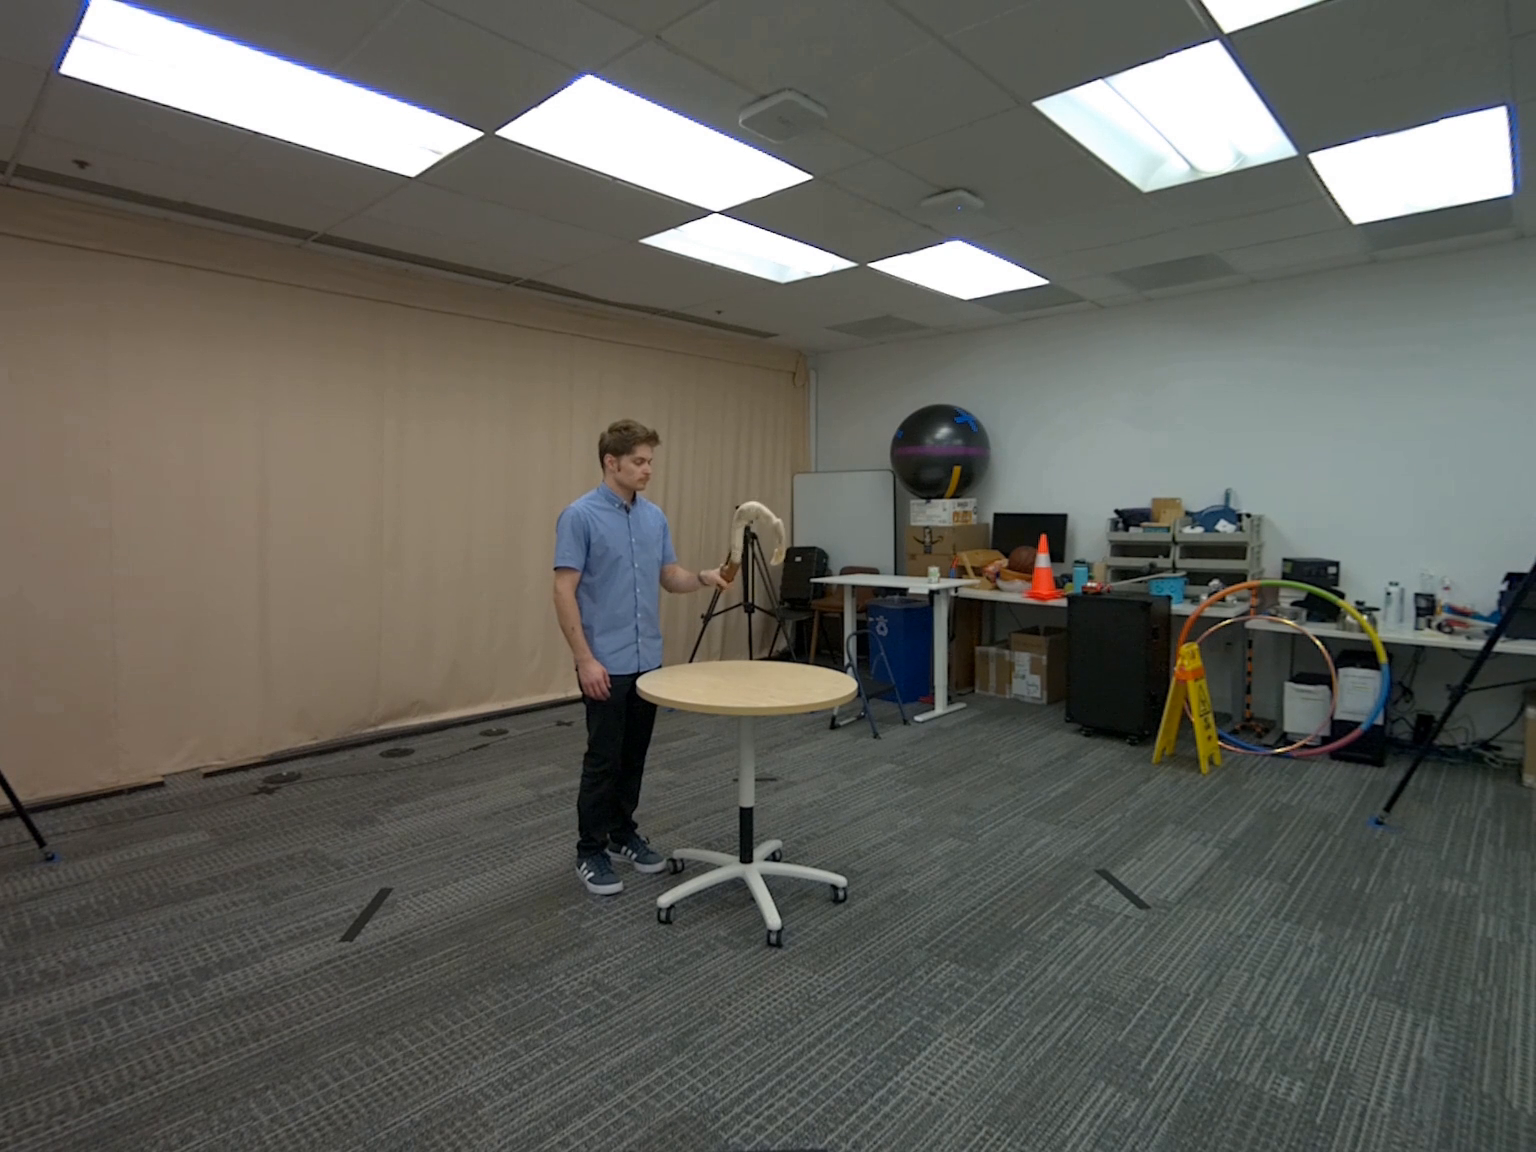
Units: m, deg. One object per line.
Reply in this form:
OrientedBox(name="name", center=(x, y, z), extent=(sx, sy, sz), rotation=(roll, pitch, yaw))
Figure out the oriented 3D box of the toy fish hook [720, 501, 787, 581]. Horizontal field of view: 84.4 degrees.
OrientedBox(name="toy fish hook", center=(-0.068, -0.042, 2.961), extent=(0.047, 0.229, 0.505), rotation=(-30, -22, -37))
